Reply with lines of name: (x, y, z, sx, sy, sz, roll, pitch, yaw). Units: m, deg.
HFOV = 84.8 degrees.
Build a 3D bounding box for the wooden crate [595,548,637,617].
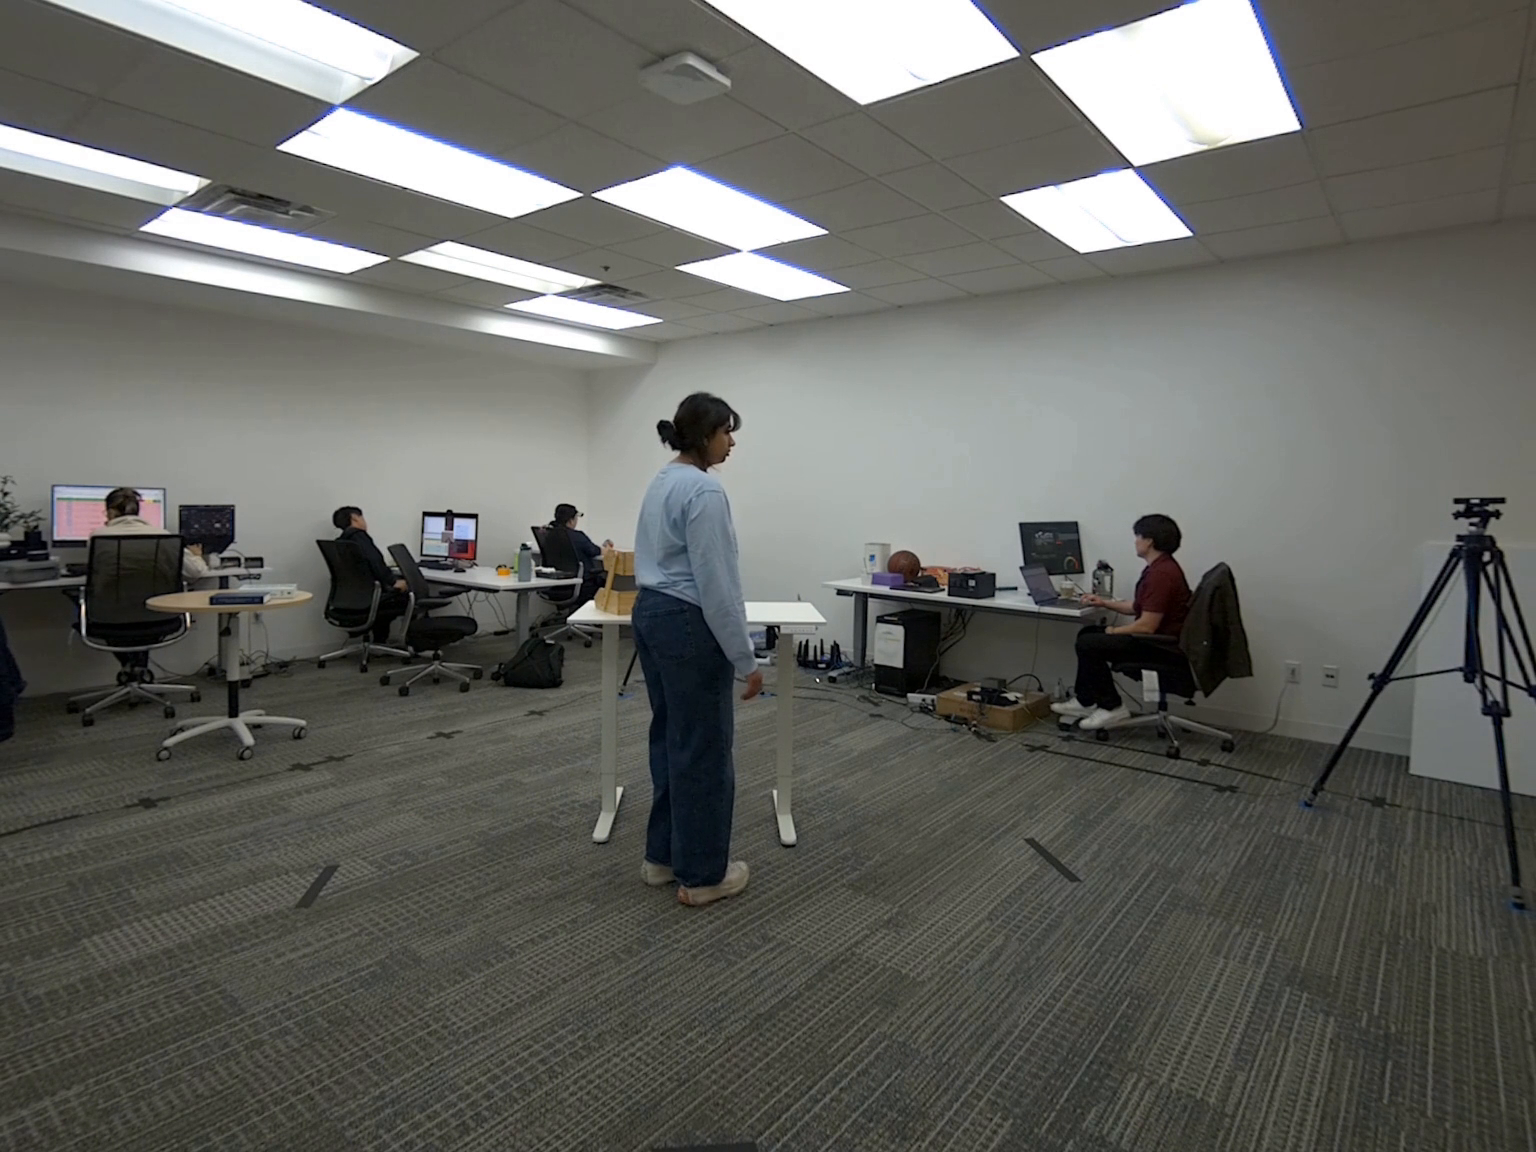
wooden crate: (-0.543, 0.010, 3.551, 0.315, 0.272, 0.311, -1, 5, -32)
